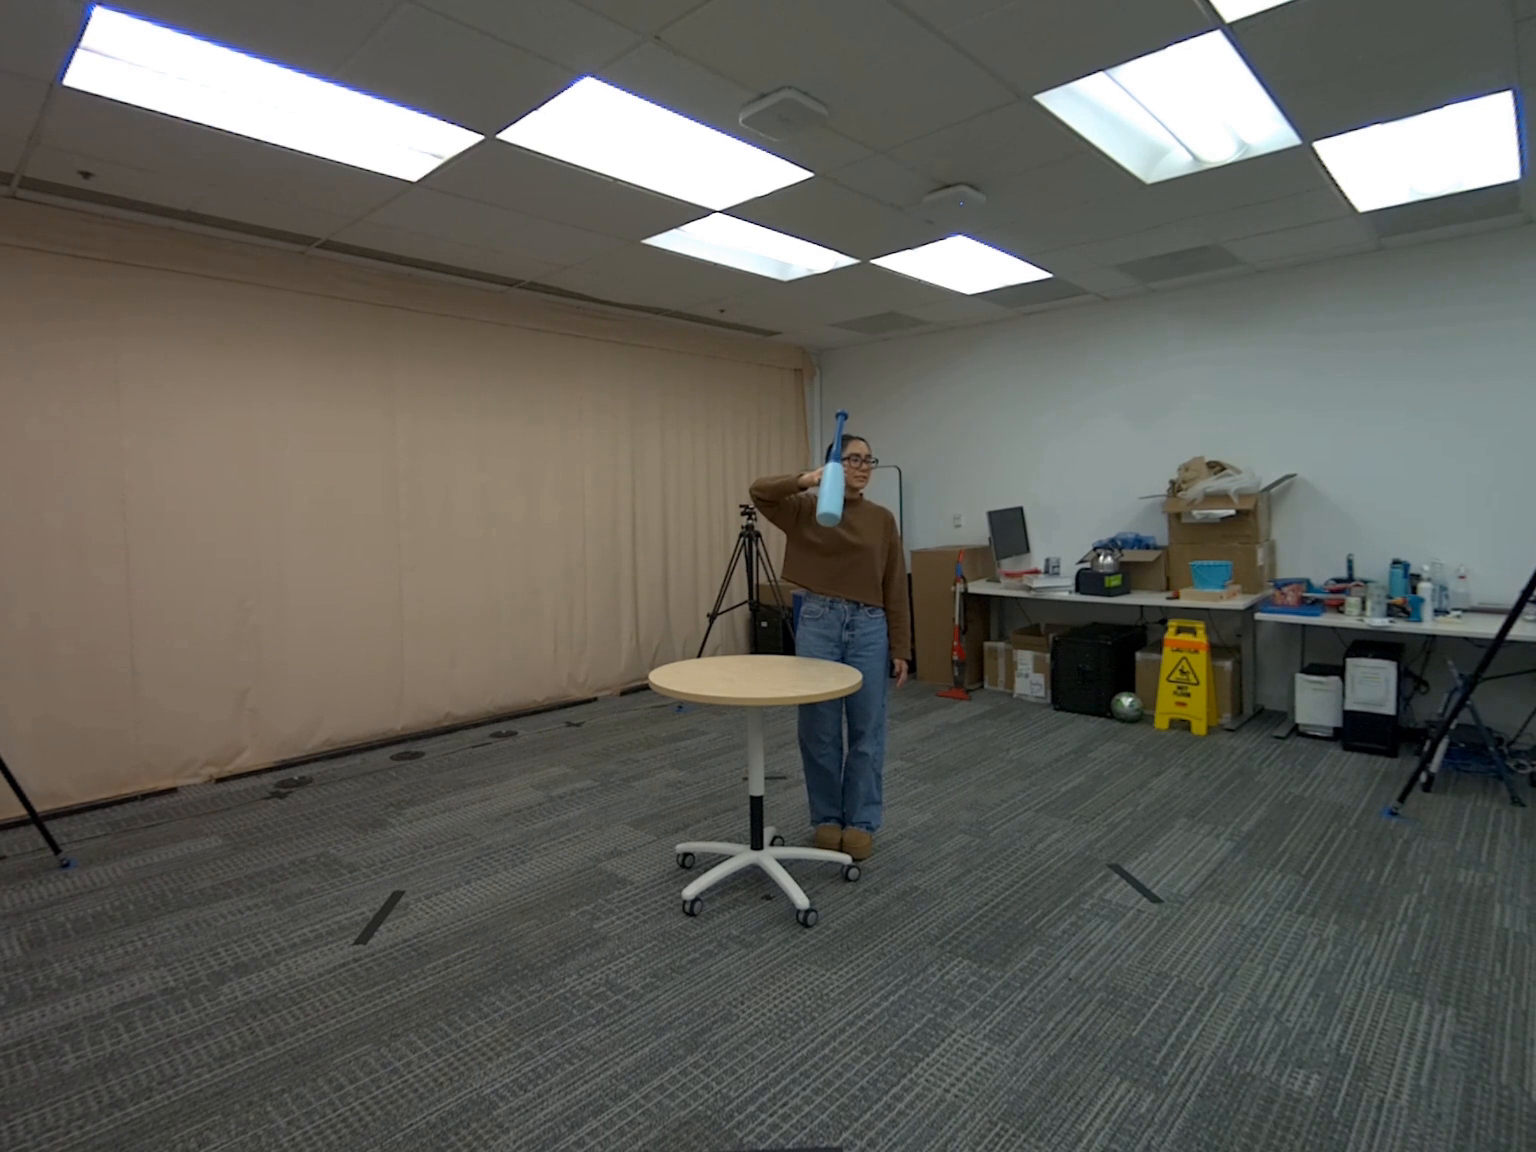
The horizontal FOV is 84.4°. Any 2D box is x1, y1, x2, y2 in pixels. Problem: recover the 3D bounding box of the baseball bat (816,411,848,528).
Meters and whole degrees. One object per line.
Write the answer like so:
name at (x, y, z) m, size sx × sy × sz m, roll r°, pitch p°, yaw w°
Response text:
baseball bat at (0.247, -0.406, 3.071) m, size 0.089 × 0.550 × 0.087 m, roll 6°, pitch -36°, yaw 3°
